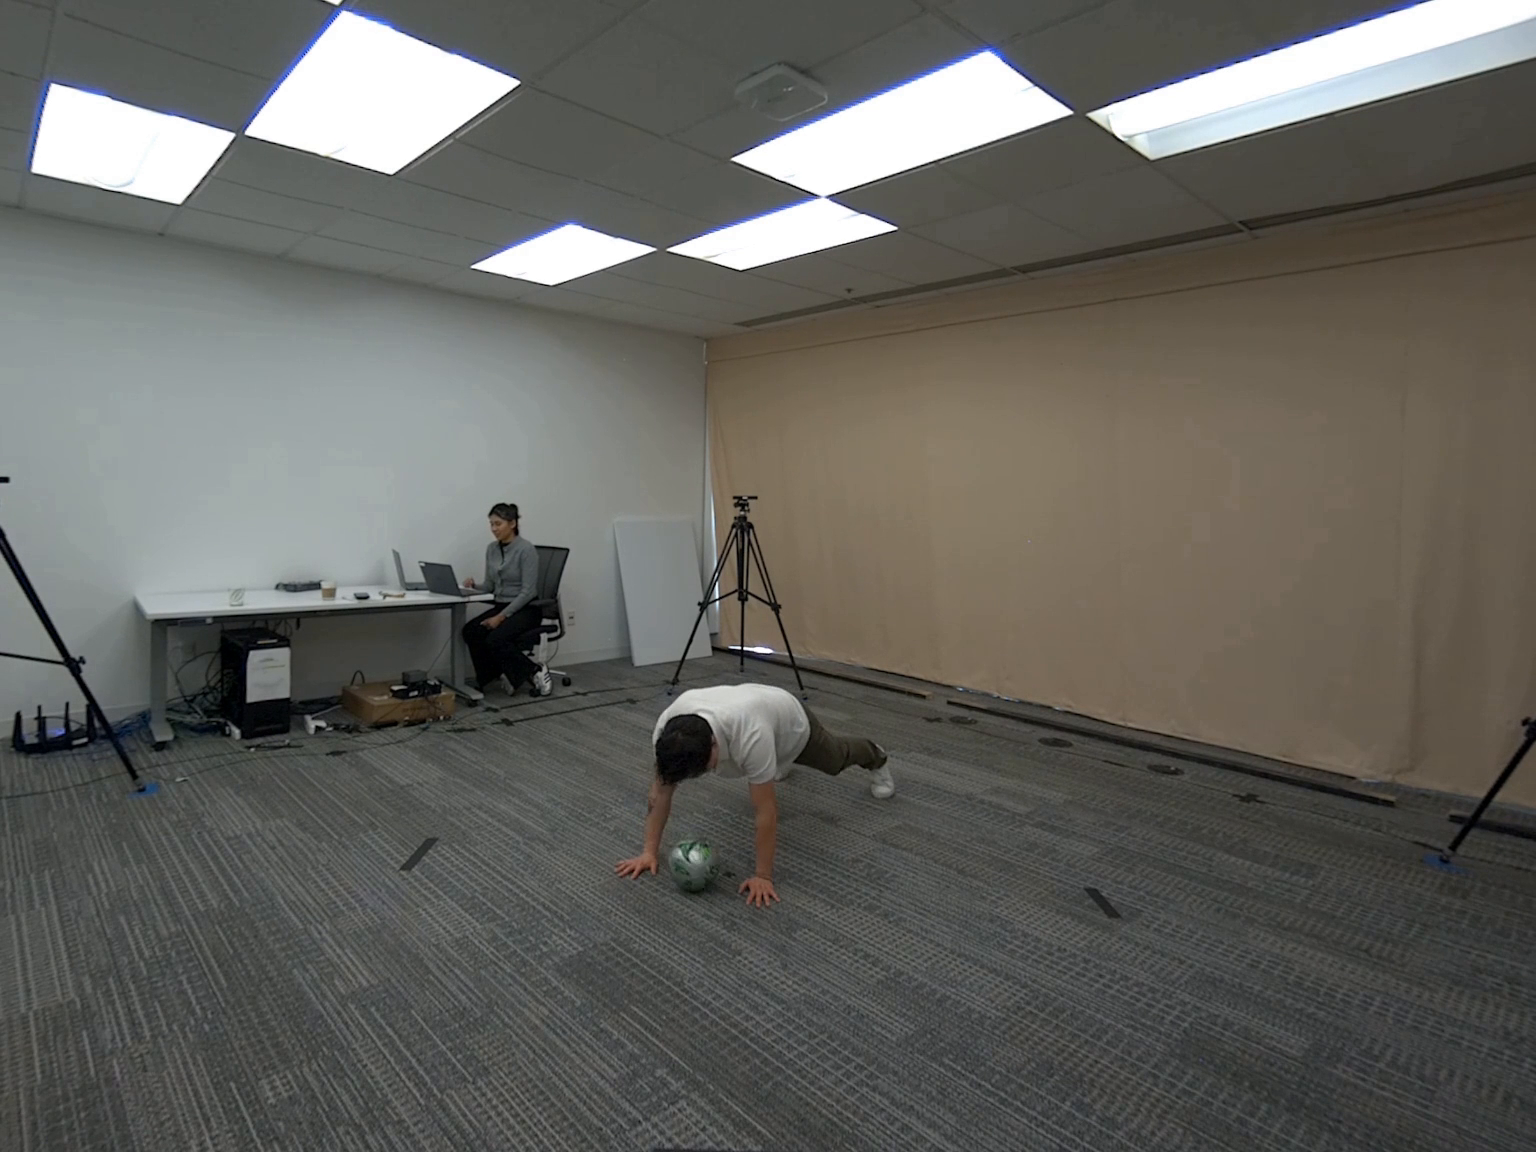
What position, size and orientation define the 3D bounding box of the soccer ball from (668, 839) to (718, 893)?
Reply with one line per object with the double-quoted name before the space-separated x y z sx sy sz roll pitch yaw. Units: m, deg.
"soccer ball" -0.275 1.017 2.983 0.187 0.187 0.188 1 4 -1
